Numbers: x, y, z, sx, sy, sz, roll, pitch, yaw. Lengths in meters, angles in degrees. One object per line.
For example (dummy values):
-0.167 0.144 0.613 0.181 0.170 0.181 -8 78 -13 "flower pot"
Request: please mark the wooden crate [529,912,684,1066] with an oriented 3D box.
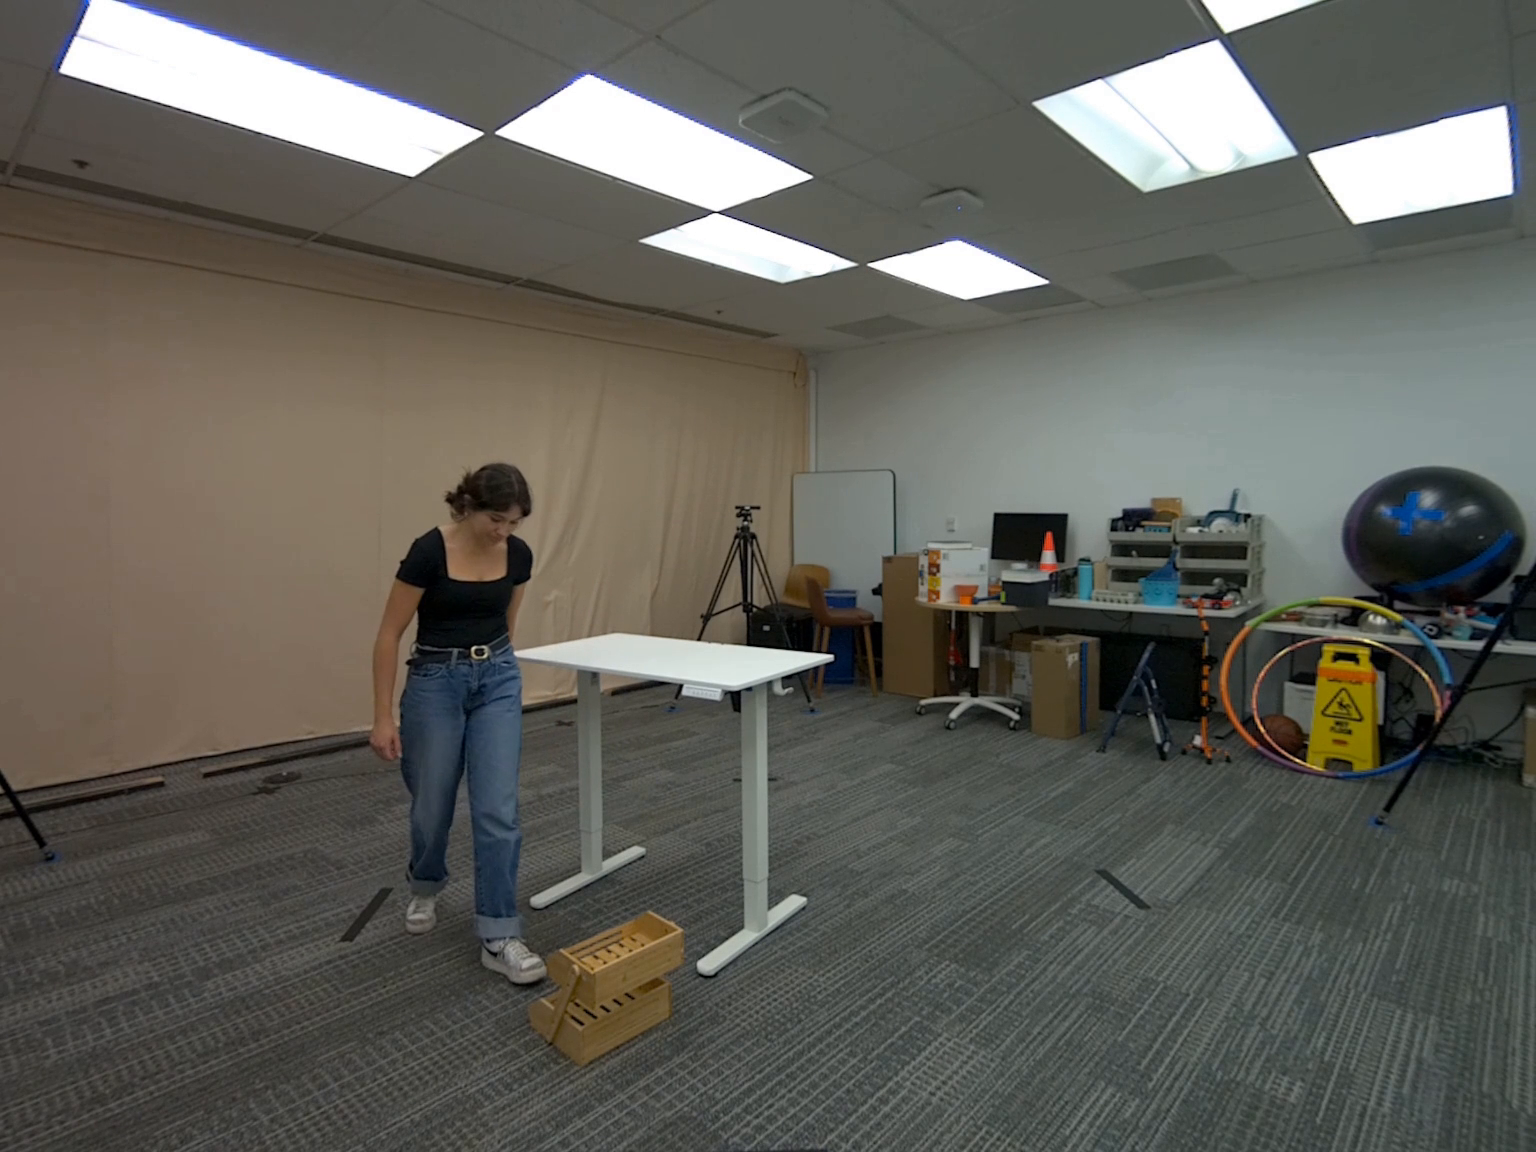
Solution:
-0.437 1.075 2.255 0.312 0.273 0.314 4 6 44 "wooden crate"
